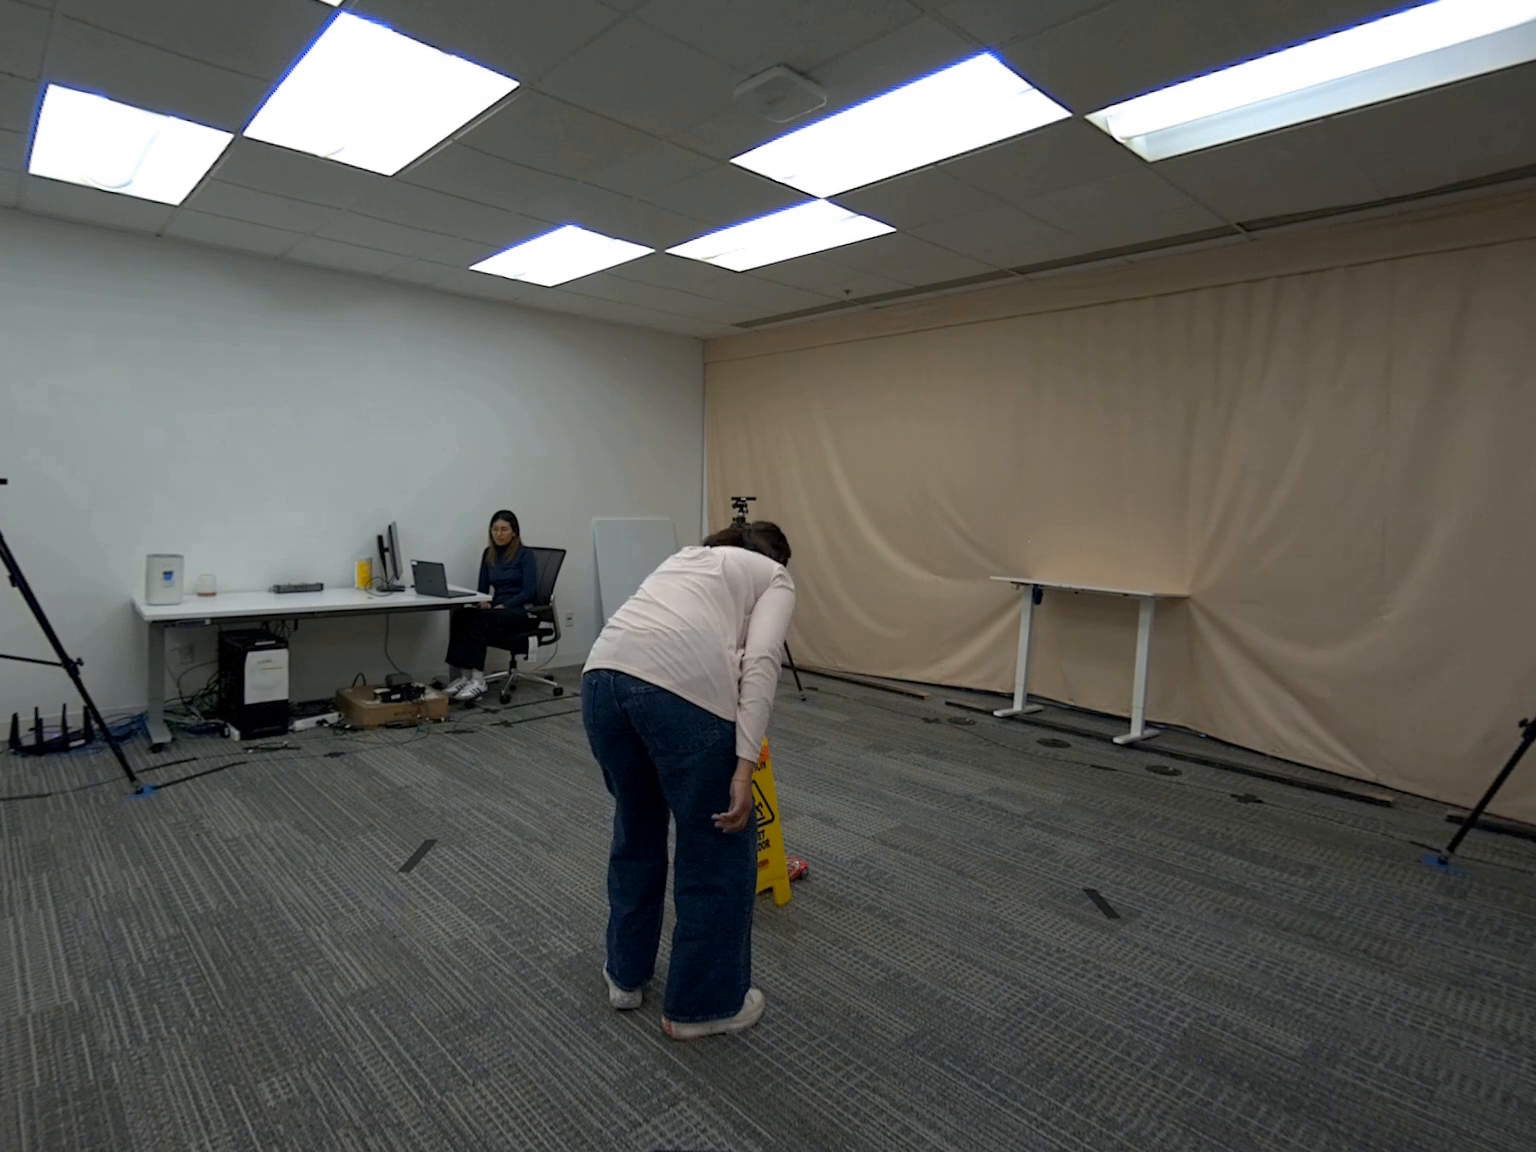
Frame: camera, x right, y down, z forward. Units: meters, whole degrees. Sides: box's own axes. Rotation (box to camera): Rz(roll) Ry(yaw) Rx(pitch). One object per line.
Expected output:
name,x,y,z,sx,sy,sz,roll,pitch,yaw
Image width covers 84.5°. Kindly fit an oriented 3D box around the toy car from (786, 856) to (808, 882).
toy car,0.029,1.089,3.062,0.248,0.083,0.134,9,-1,-45
